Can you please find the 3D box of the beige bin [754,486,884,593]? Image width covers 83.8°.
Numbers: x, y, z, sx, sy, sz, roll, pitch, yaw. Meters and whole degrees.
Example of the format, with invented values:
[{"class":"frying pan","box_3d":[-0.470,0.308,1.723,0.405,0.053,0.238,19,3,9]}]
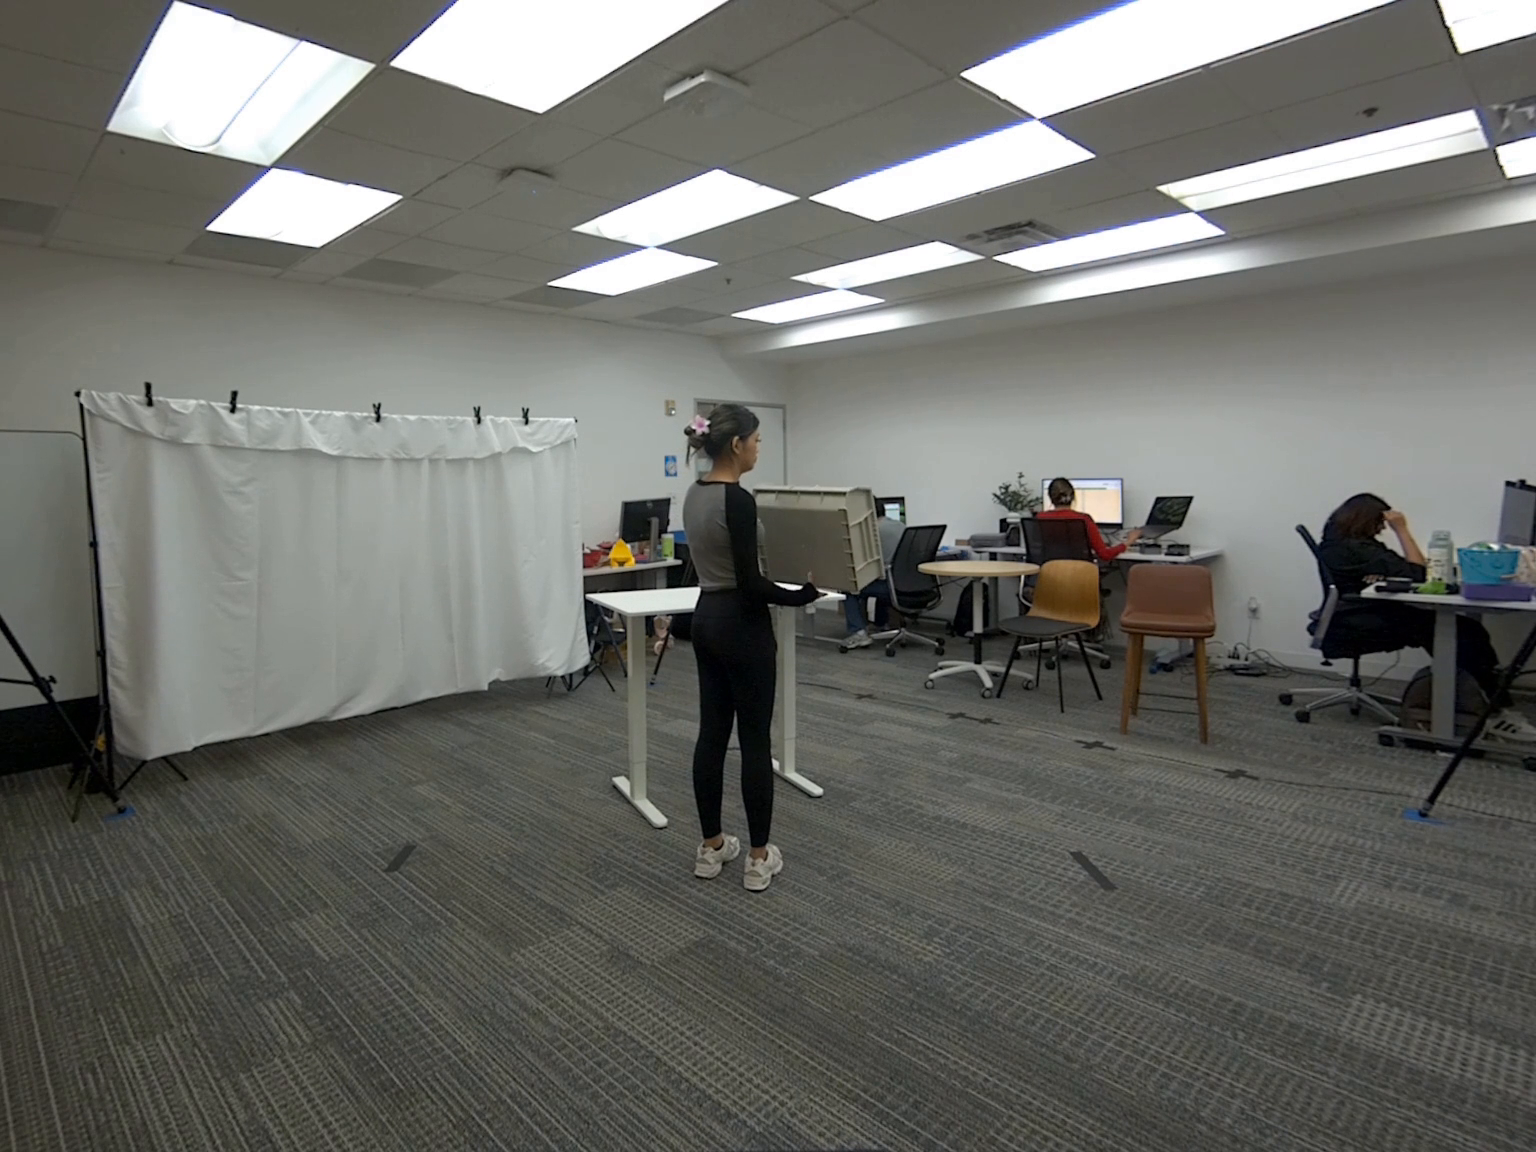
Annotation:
[{"class":"beige bin","box_3d":[0.166,-0.146,3.083,0.435,0.370,0.187,5,23,37]}]
